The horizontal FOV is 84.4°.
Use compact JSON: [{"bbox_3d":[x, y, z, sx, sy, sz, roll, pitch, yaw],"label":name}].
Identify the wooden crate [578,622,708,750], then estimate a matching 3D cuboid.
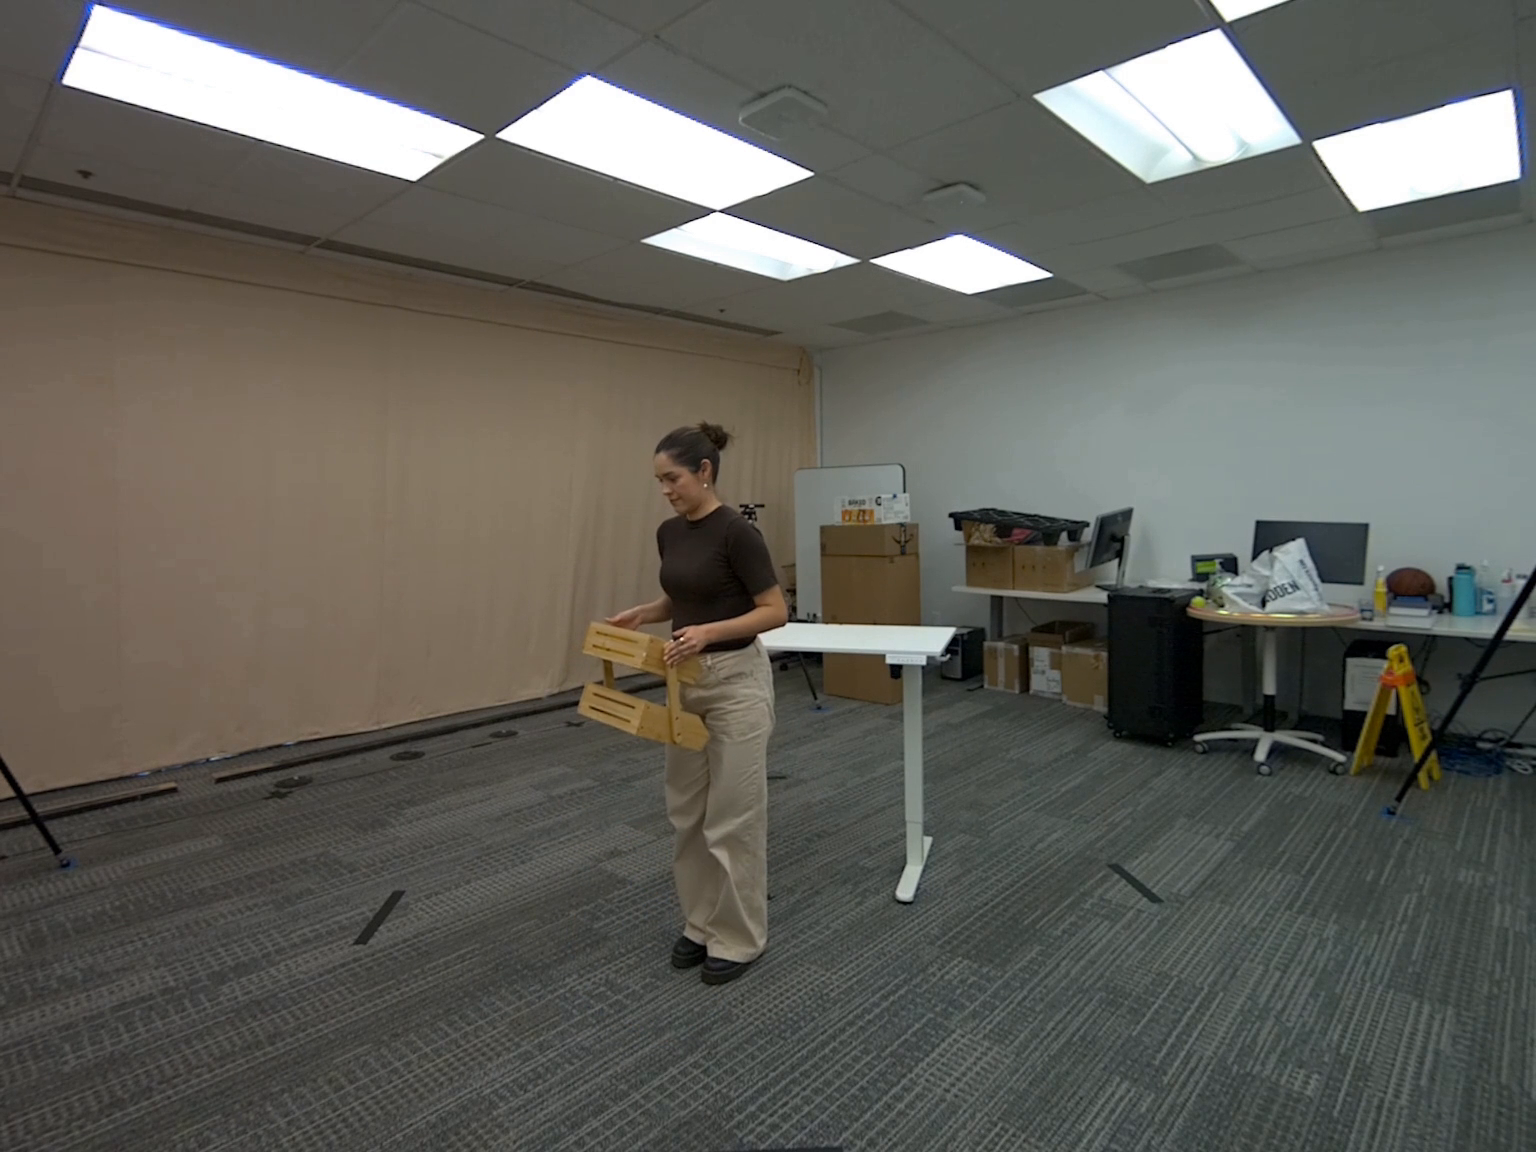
[{"bbox_3d":[-0.346,0.306,2.378,0.335,0.274,0.291,7,-10,44],"label":"wooden crate"}]
